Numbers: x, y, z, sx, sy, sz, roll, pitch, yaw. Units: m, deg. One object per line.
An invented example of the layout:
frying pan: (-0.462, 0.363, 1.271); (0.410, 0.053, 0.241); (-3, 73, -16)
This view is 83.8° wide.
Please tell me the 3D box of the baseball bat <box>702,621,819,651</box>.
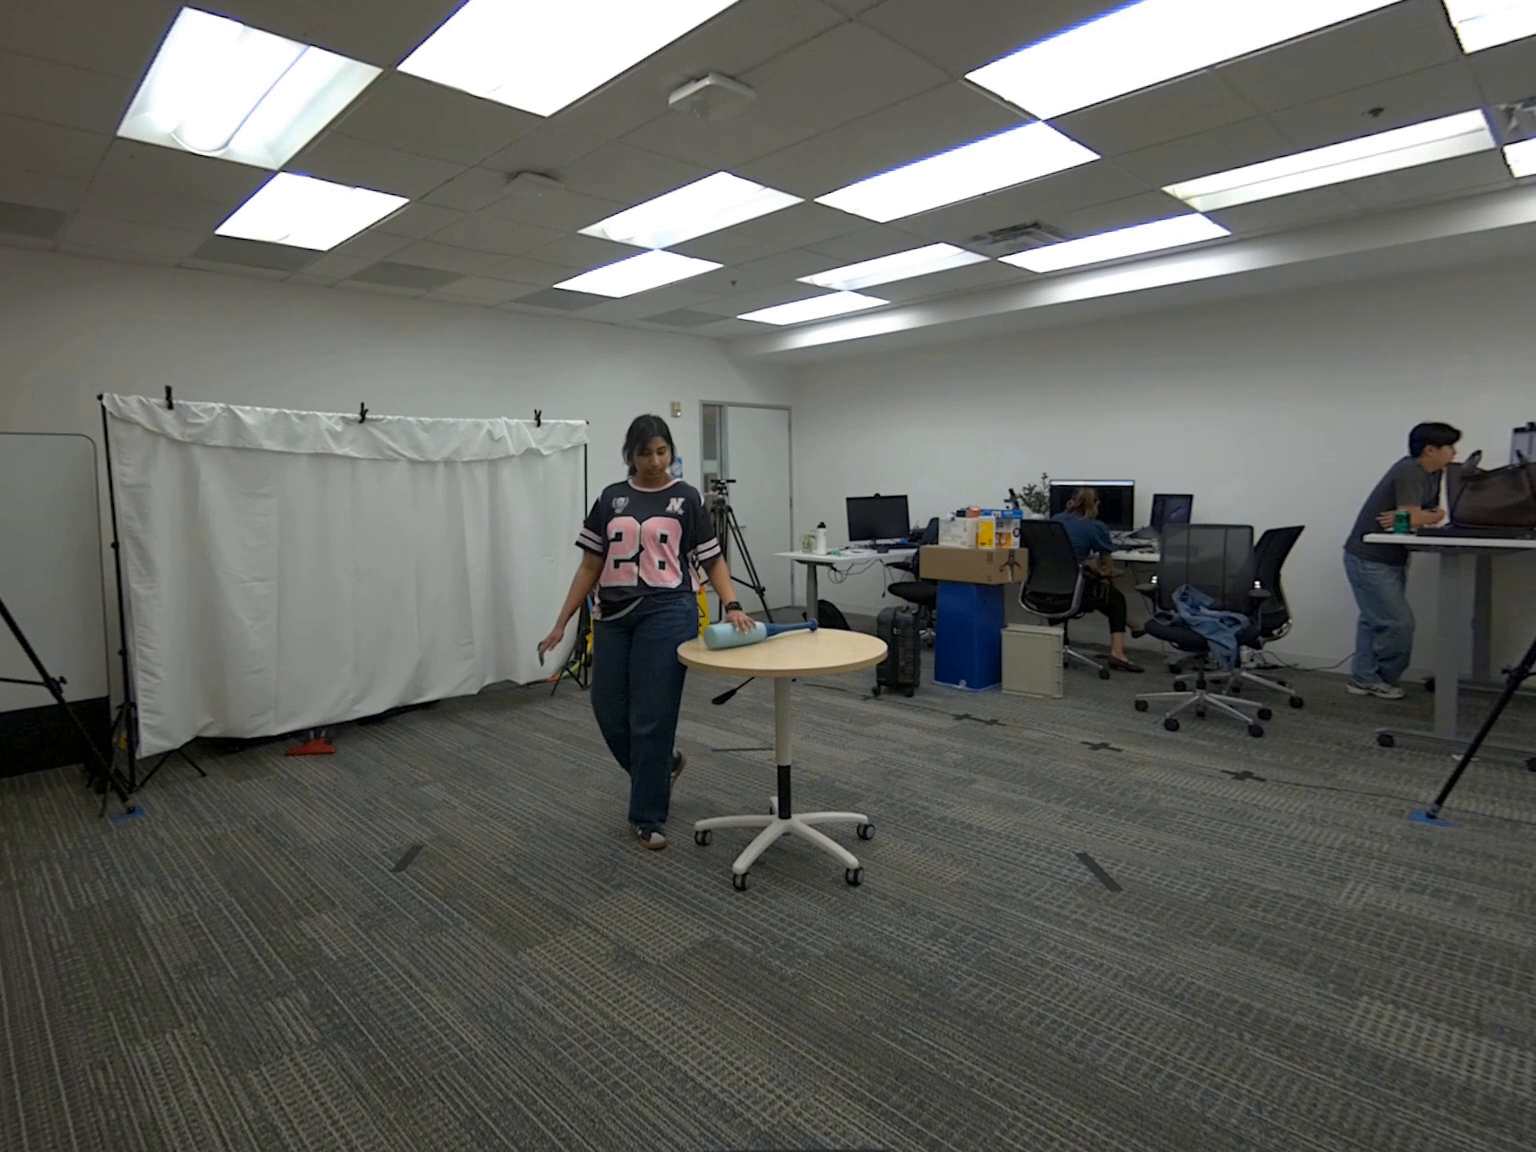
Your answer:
baseball bat: (-0.013, 0.211, 3.251); (0.528, 0.089, 0.092); (-4, 5, -39)
